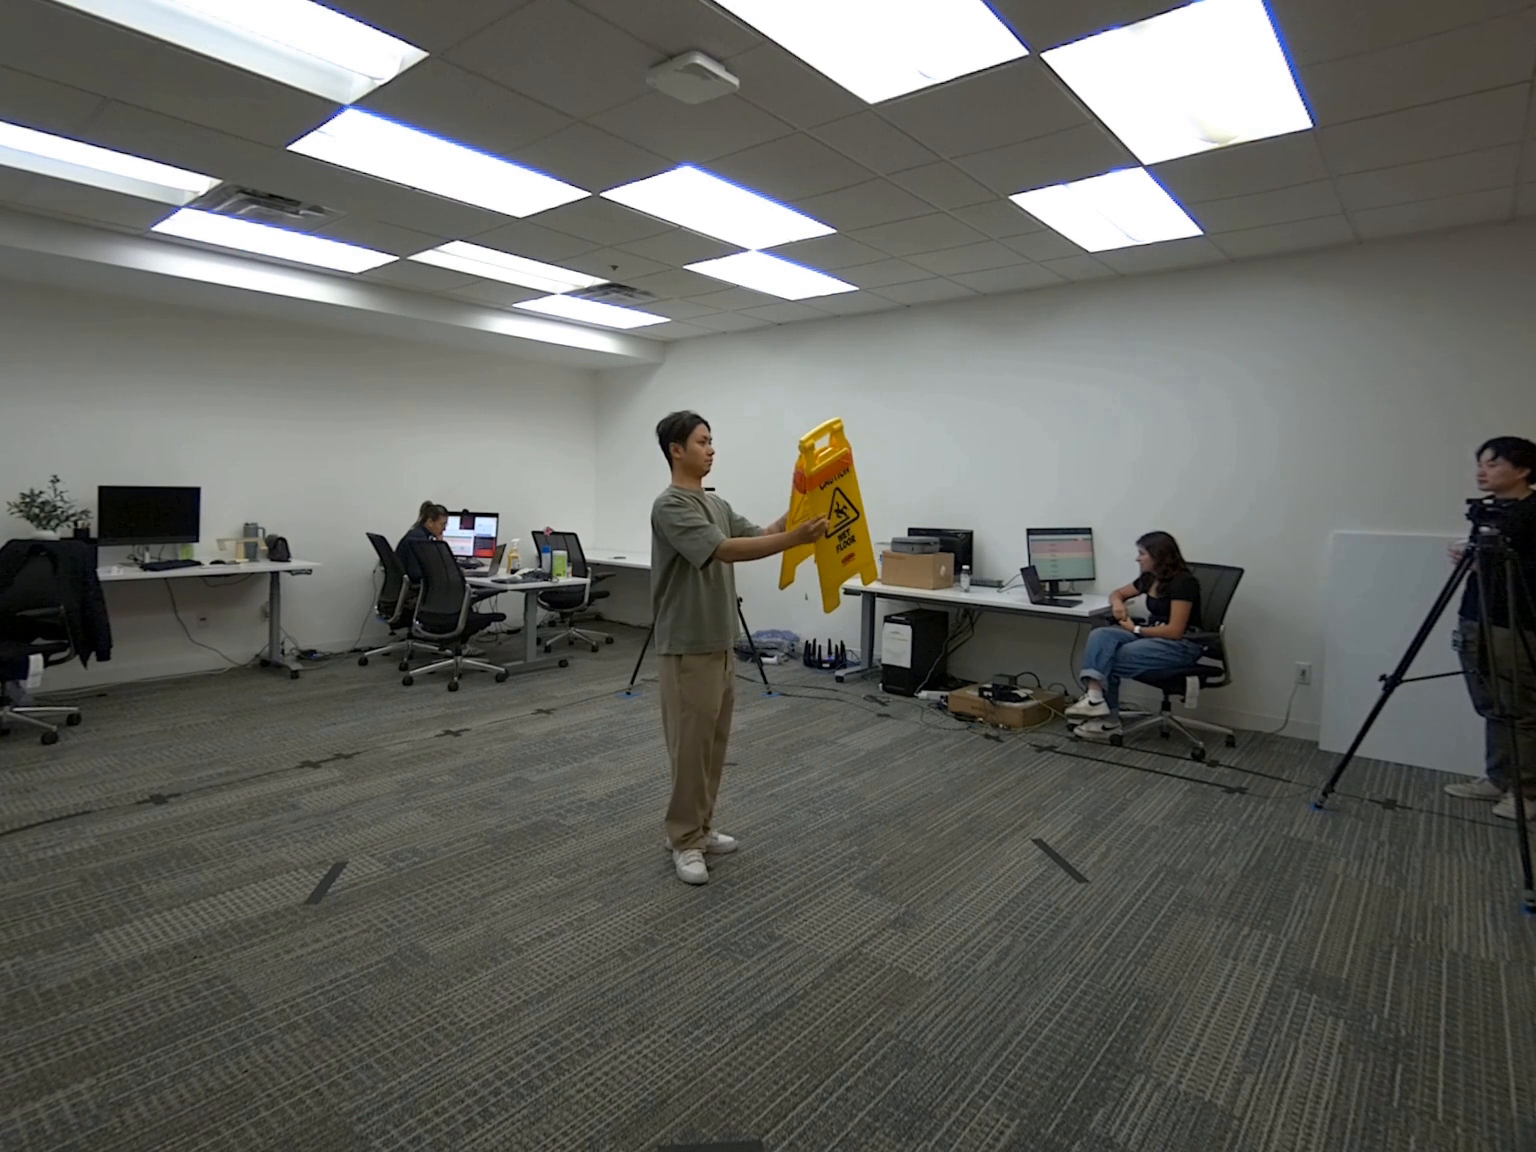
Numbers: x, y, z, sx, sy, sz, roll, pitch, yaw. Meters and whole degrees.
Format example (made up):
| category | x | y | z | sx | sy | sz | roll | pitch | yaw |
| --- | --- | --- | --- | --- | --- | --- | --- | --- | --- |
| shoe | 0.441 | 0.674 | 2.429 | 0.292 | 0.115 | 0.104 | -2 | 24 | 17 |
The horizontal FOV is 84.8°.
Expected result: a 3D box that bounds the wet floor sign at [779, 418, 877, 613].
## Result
| category | x | y | z | sx | sy | sz | roll | pitch | yaw |
| --- | --- | --- | --- | --- | --- | --- | --- | --- | --- |
| wet floor sign | 0.181 | -0.223 | 2.963 | 0.279 | 0.627 | 0.302 | -32 | 42 | -33 |
